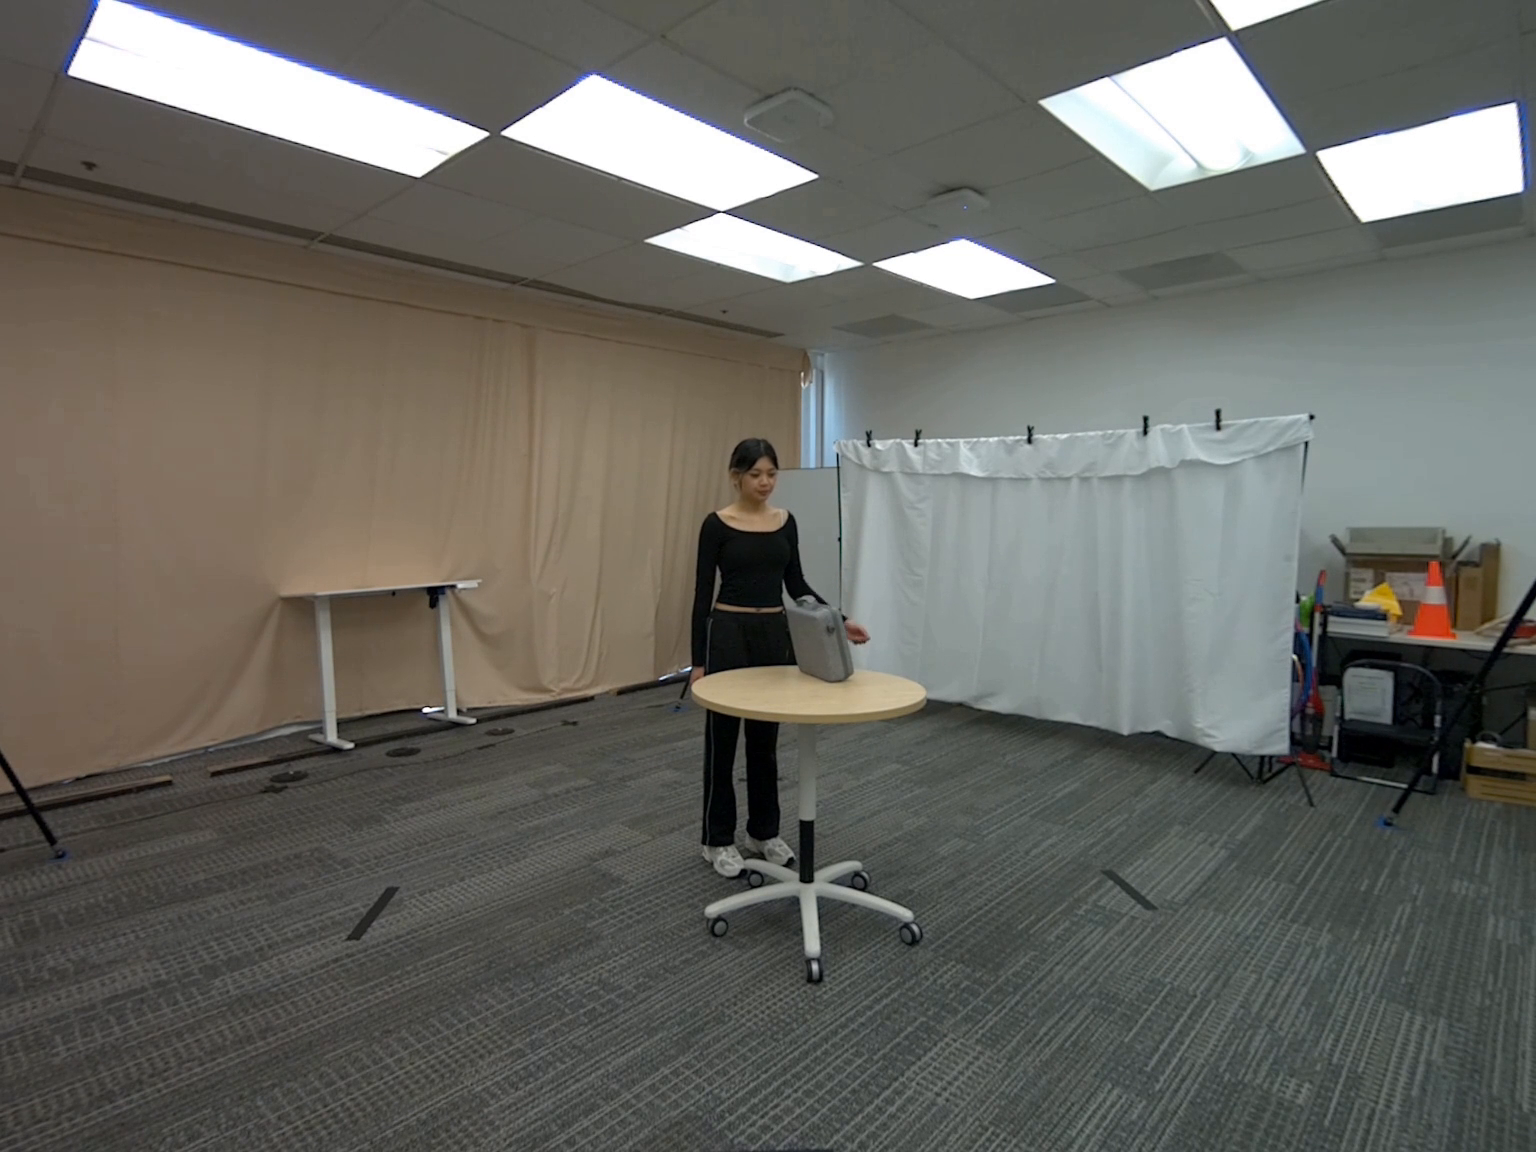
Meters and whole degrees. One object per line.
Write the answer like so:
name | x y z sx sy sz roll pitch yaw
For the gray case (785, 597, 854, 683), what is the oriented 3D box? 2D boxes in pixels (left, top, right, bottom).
gray case | 0.183 0.224 2.946 0.102 0.259 0.263 -13 8 -22
